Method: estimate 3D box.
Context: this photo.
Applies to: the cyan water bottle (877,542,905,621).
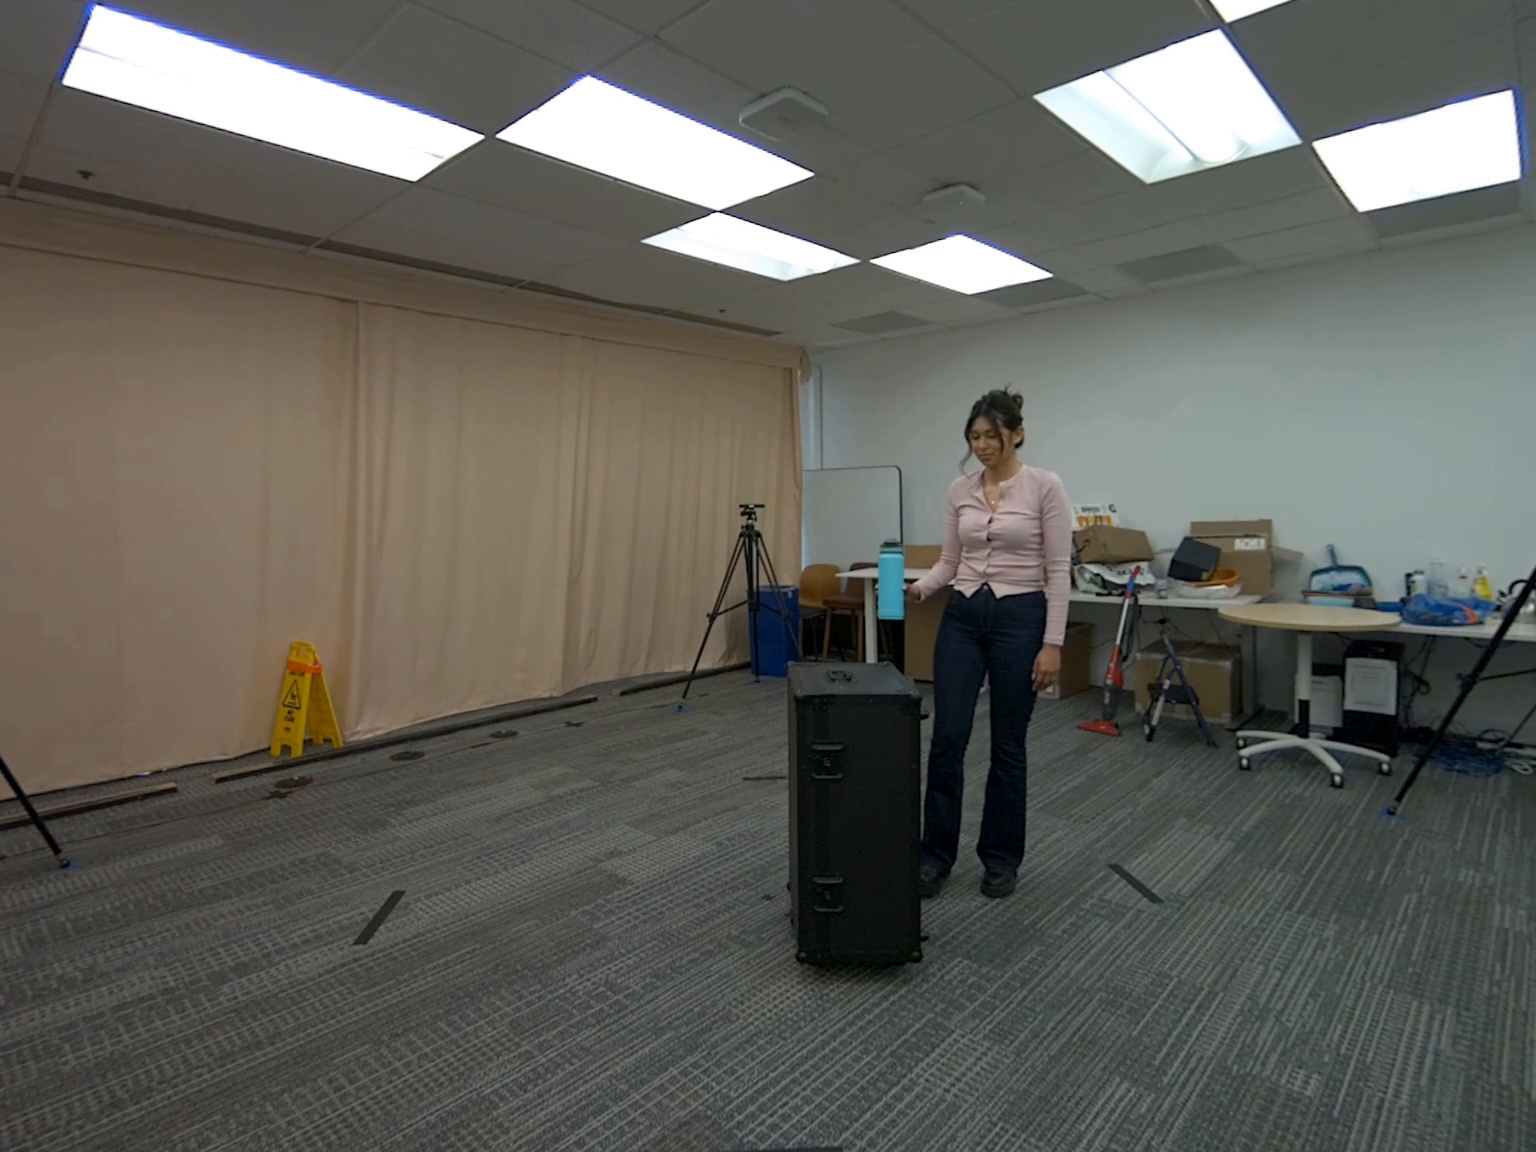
[{"bbox_3d":[0.441,0.012,2.955,0.092,0.284,0.092,3,-3,-2],"label":"cyan water bottle"}]
